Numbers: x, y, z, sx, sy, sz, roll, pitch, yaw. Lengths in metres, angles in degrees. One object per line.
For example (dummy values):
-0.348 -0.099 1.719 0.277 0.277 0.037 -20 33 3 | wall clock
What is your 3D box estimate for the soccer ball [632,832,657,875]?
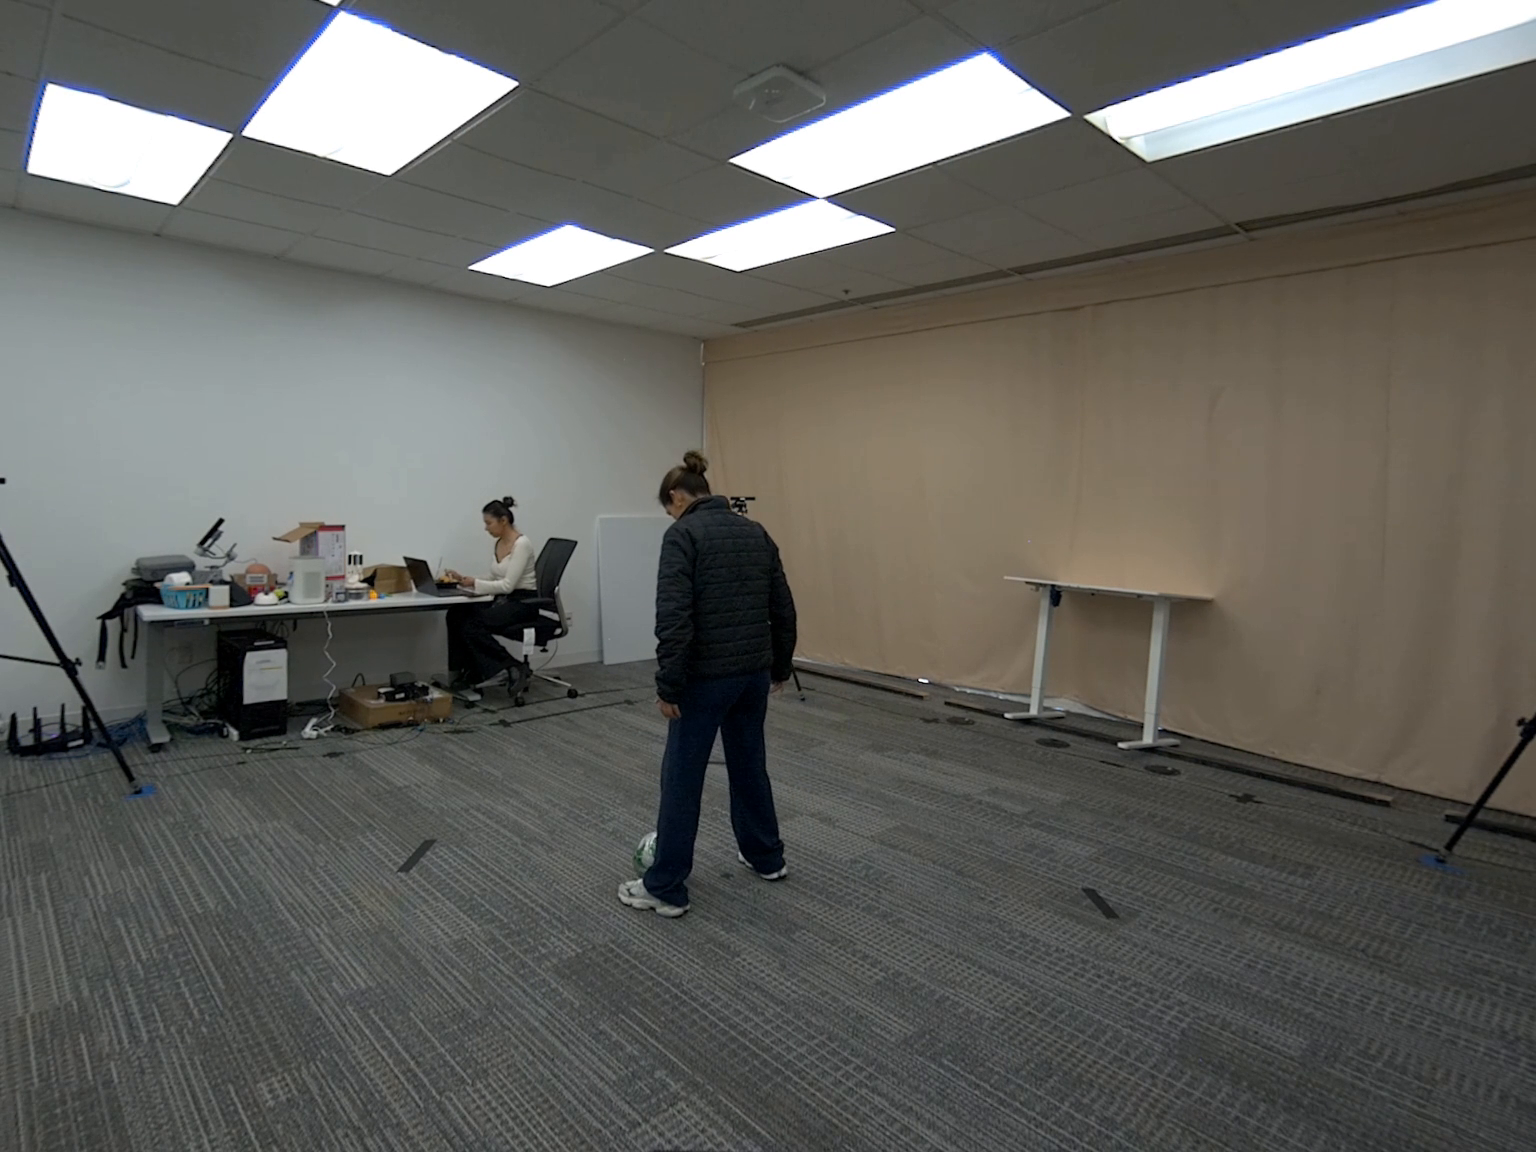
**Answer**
-0.402 1.015 3.025 0.187 0.187 0.188 1 4 -1 | soccer ball
